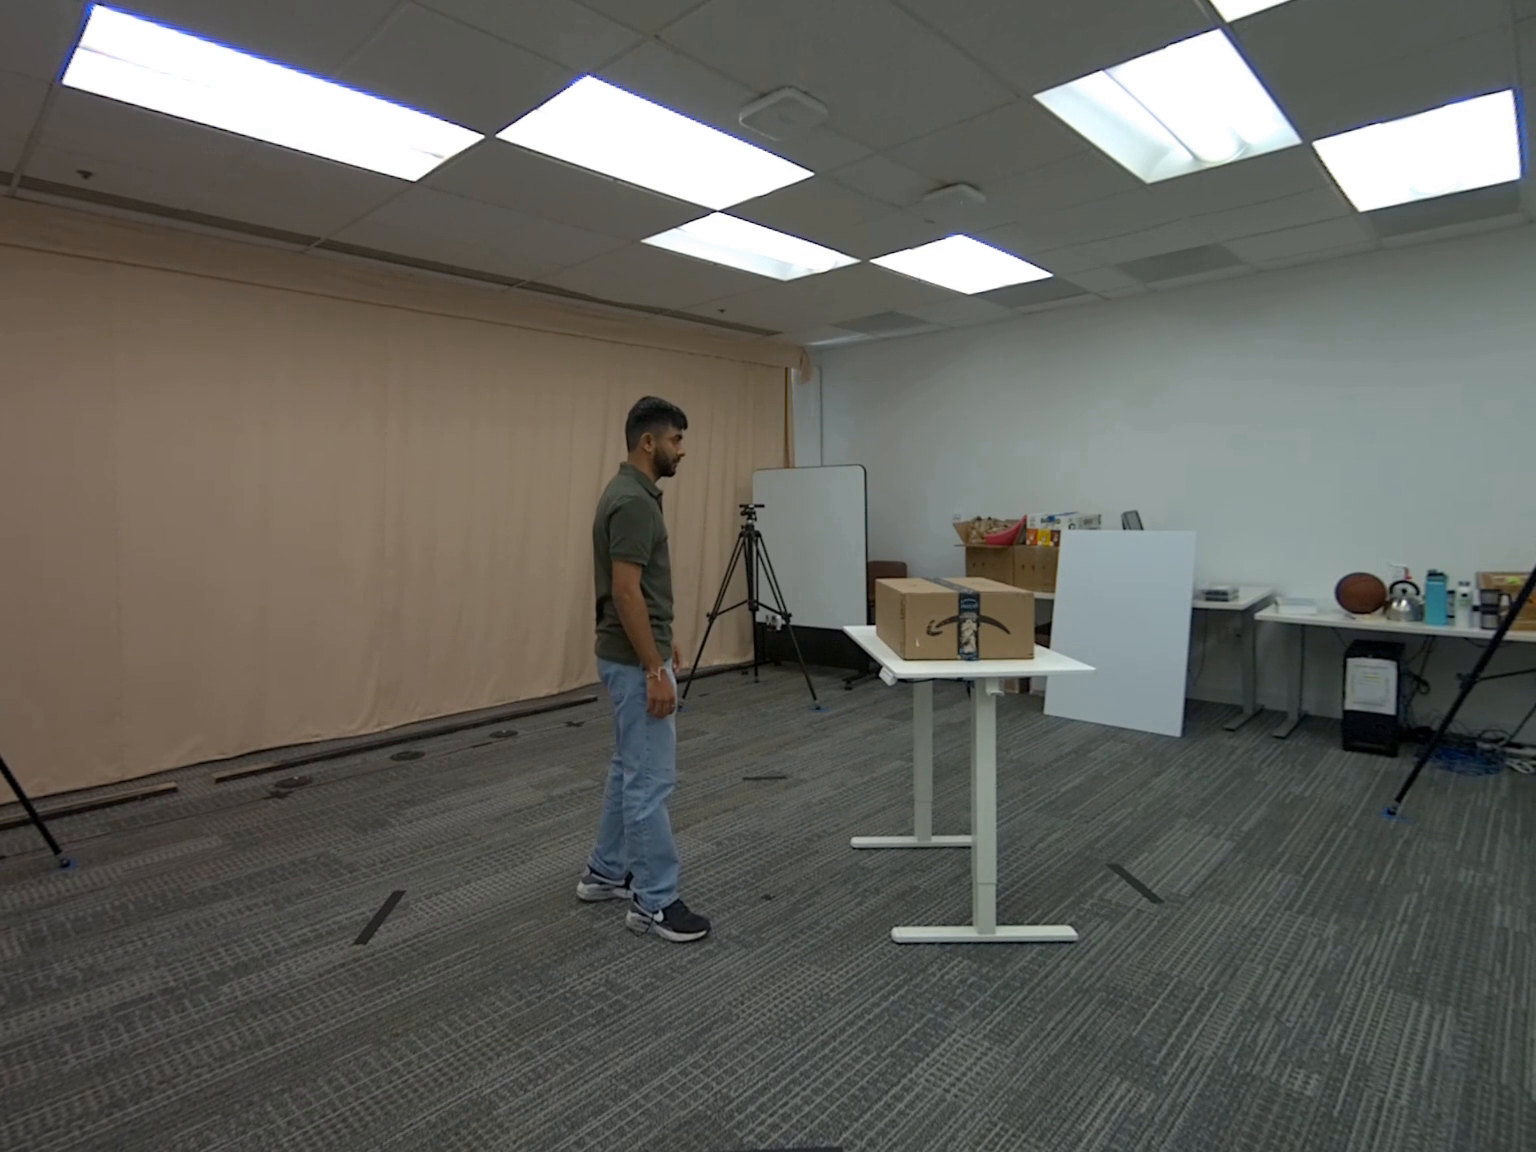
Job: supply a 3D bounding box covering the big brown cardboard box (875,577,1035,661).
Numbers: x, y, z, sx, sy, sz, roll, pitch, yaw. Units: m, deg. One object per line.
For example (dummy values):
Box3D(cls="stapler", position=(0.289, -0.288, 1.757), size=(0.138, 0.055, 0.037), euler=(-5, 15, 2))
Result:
Box3D(cls="big brown cardboard box", position=(0.640, 0.142, 2.956), size=(0.418, 0.232, 0.590), euler=(0, 5, -1))
